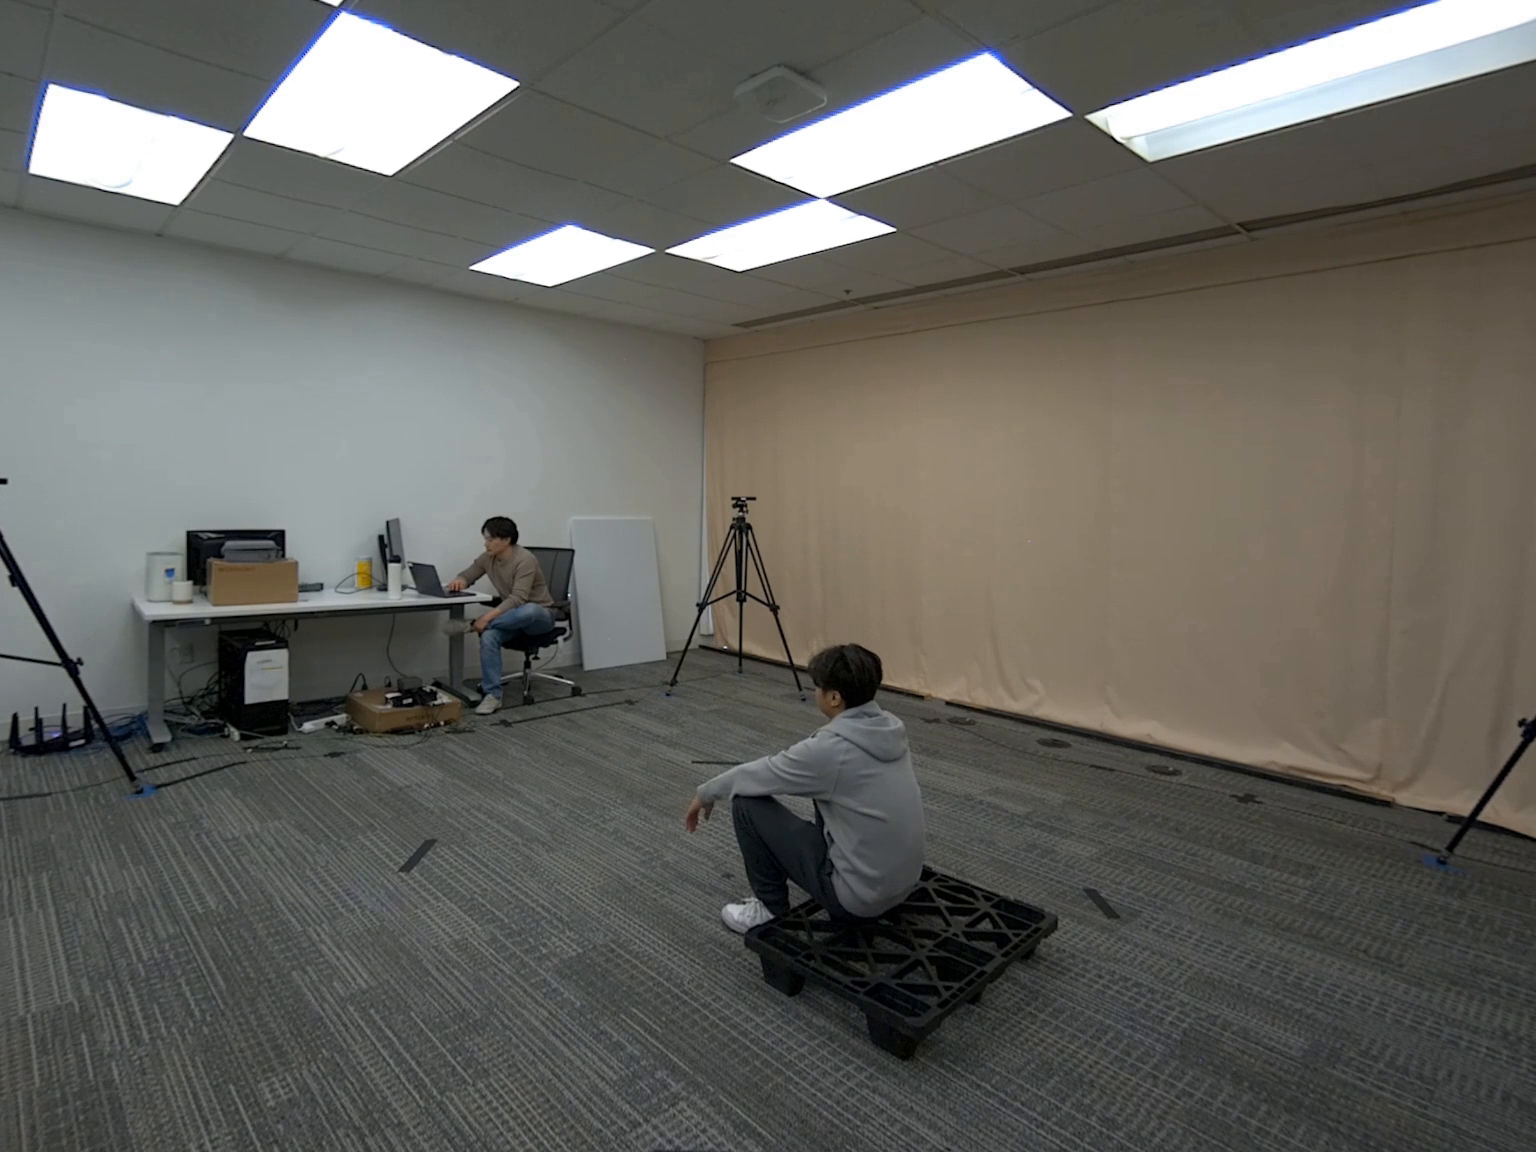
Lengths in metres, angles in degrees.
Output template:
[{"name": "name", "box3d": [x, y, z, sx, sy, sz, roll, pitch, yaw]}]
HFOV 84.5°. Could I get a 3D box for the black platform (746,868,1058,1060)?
[{"name": "black platform", "box3d": [0.398, 1.106, 2.519, 0.620, 0.143, 0.787, 6, 7, 43]}]
